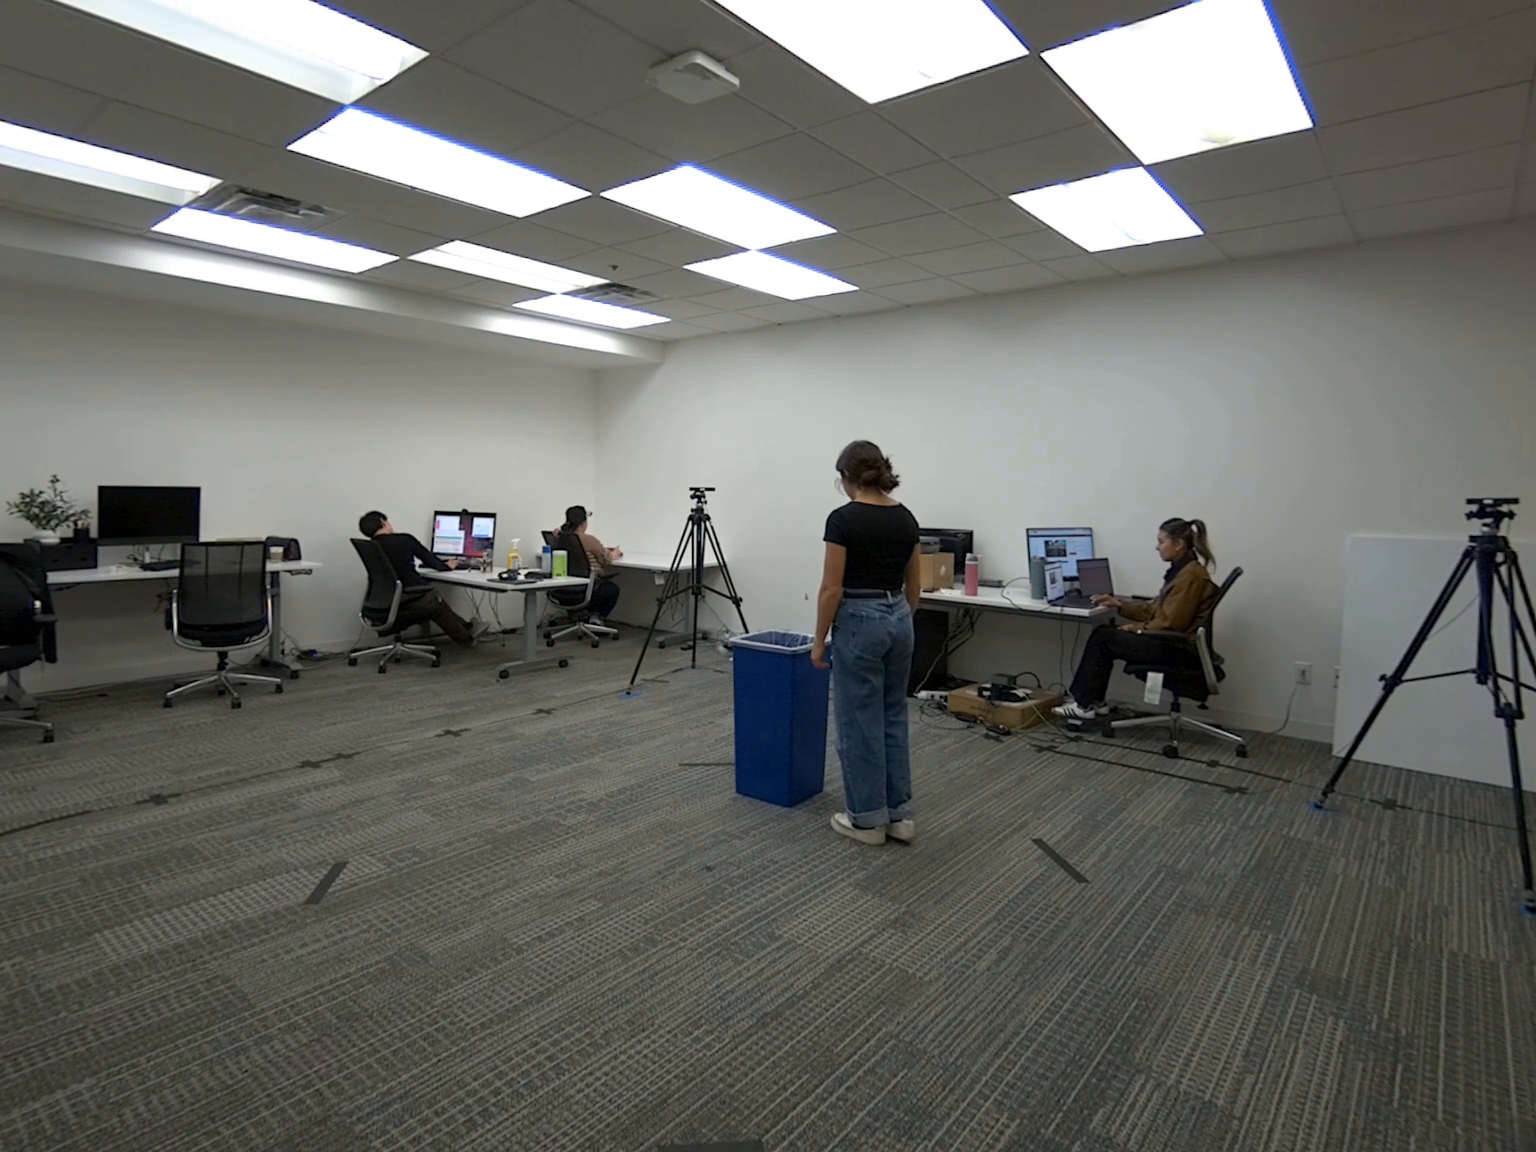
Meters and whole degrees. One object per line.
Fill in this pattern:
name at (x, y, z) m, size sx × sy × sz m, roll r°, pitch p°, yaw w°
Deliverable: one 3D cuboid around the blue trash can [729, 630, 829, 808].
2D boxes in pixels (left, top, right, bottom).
blue trash can at (0.049, 0.636, 3.901) m, size 0.390 × 0.712 × 0.363 m, roll 3°, pitch 4°, yaw 36°
